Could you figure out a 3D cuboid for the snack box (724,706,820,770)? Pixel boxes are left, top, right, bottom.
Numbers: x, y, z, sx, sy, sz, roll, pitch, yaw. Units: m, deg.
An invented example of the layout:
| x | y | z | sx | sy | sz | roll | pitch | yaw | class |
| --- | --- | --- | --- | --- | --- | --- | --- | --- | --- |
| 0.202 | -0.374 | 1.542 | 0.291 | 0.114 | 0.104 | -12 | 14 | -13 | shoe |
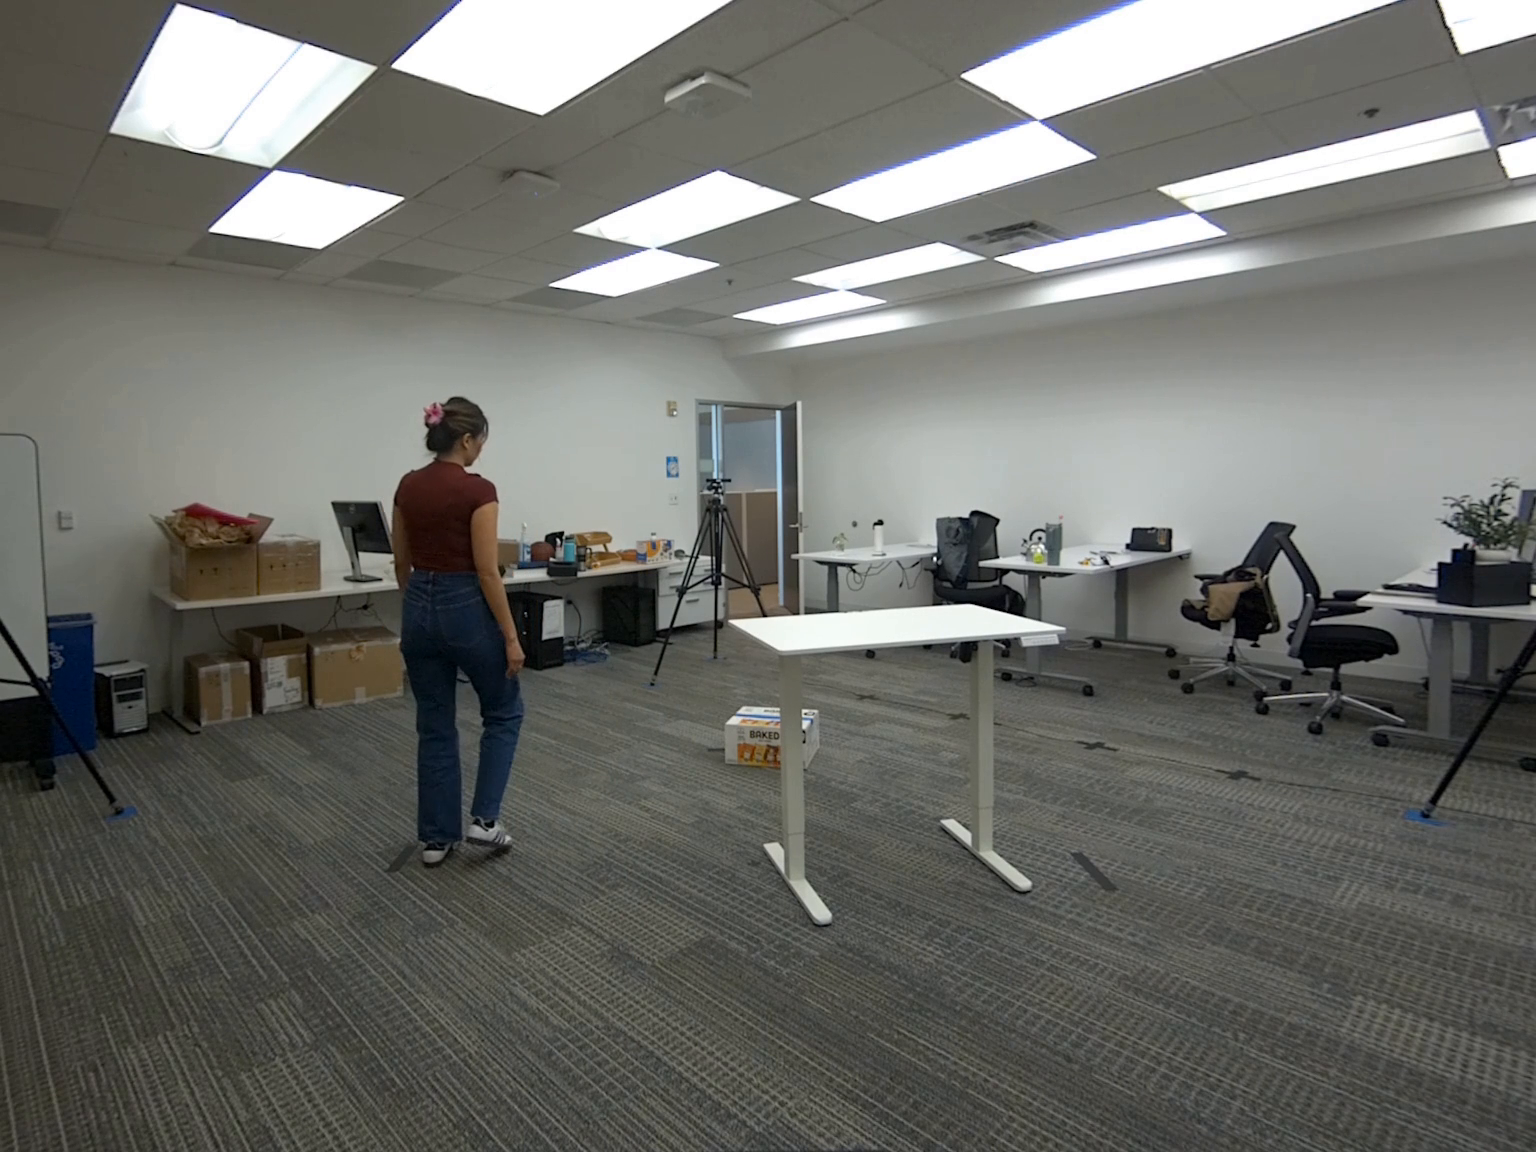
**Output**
| x | y | z | sx | sy | sz | roll | pitch | yaw | class |
| --- | --- | --- | --- | --- | --- | --- | --- | --- | --- |
| 0.023 | 0.809 | 4.309 | 0.411 | 0.205 | 0.337 | 0 | 6 | 15 | snack box |
